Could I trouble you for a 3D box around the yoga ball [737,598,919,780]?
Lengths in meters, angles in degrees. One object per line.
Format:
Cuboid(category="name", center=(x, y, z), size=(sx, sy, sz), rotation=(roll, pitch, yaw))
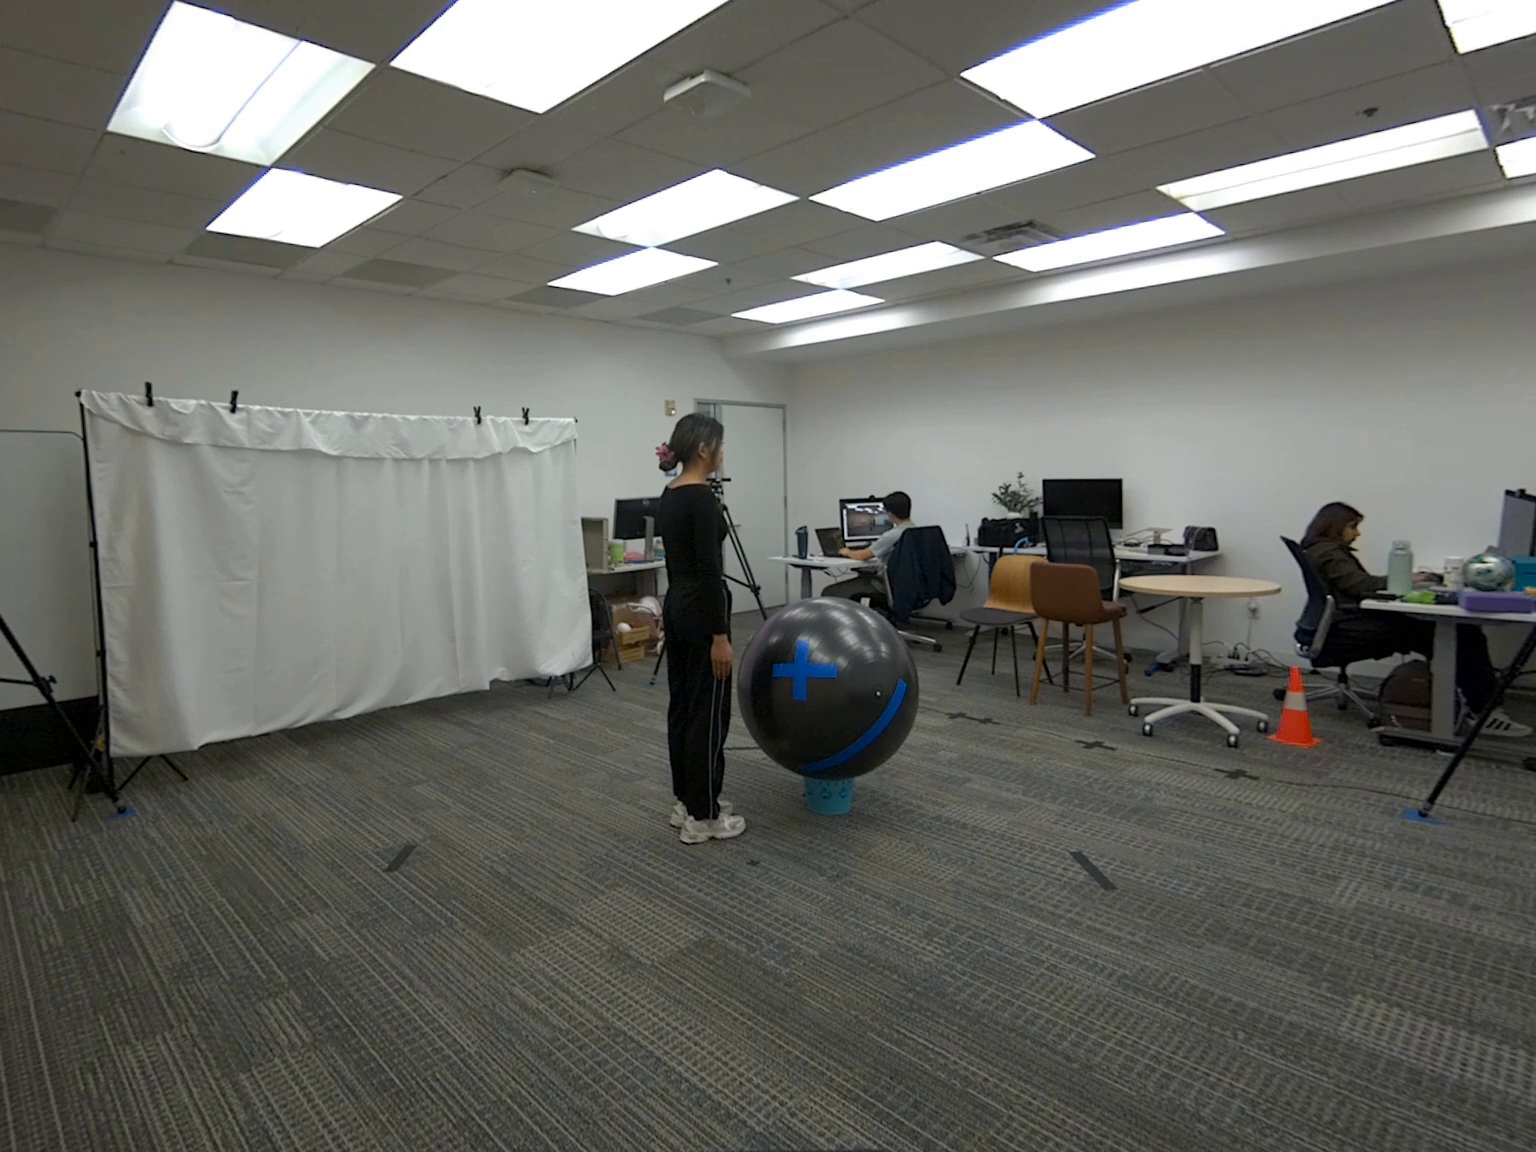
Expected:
Cuboid(category="yoga ball", center=(0.253, 0.467, 3.601), size=(0.757, 0.755, 0.762), rotation=(-1, 5, -2))
